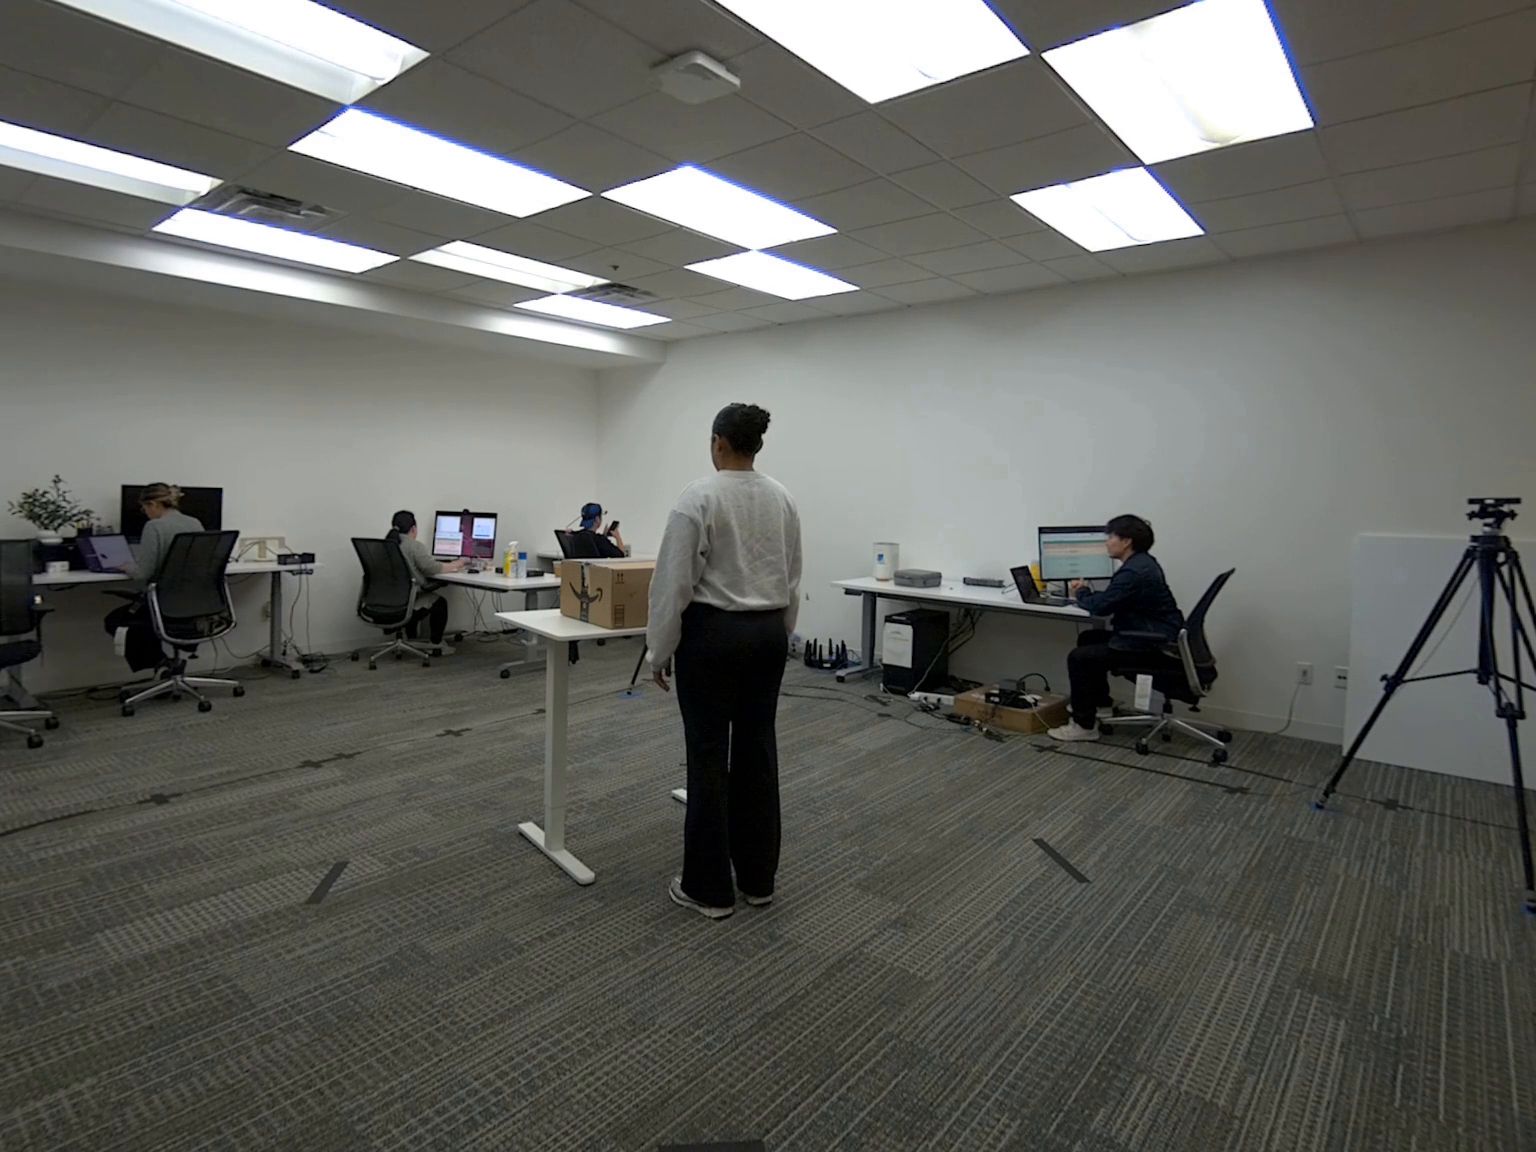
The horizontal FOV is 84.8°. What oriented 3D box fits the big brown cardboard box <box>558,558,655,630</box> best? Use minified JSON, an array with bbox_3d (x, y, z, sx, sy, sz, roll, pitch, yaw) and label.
[{"bbox_3d":[-0.474,0.048,3.320,0.572,0.232,0.432,-4,7,-38],"label":"big brown cardboard box"}]
